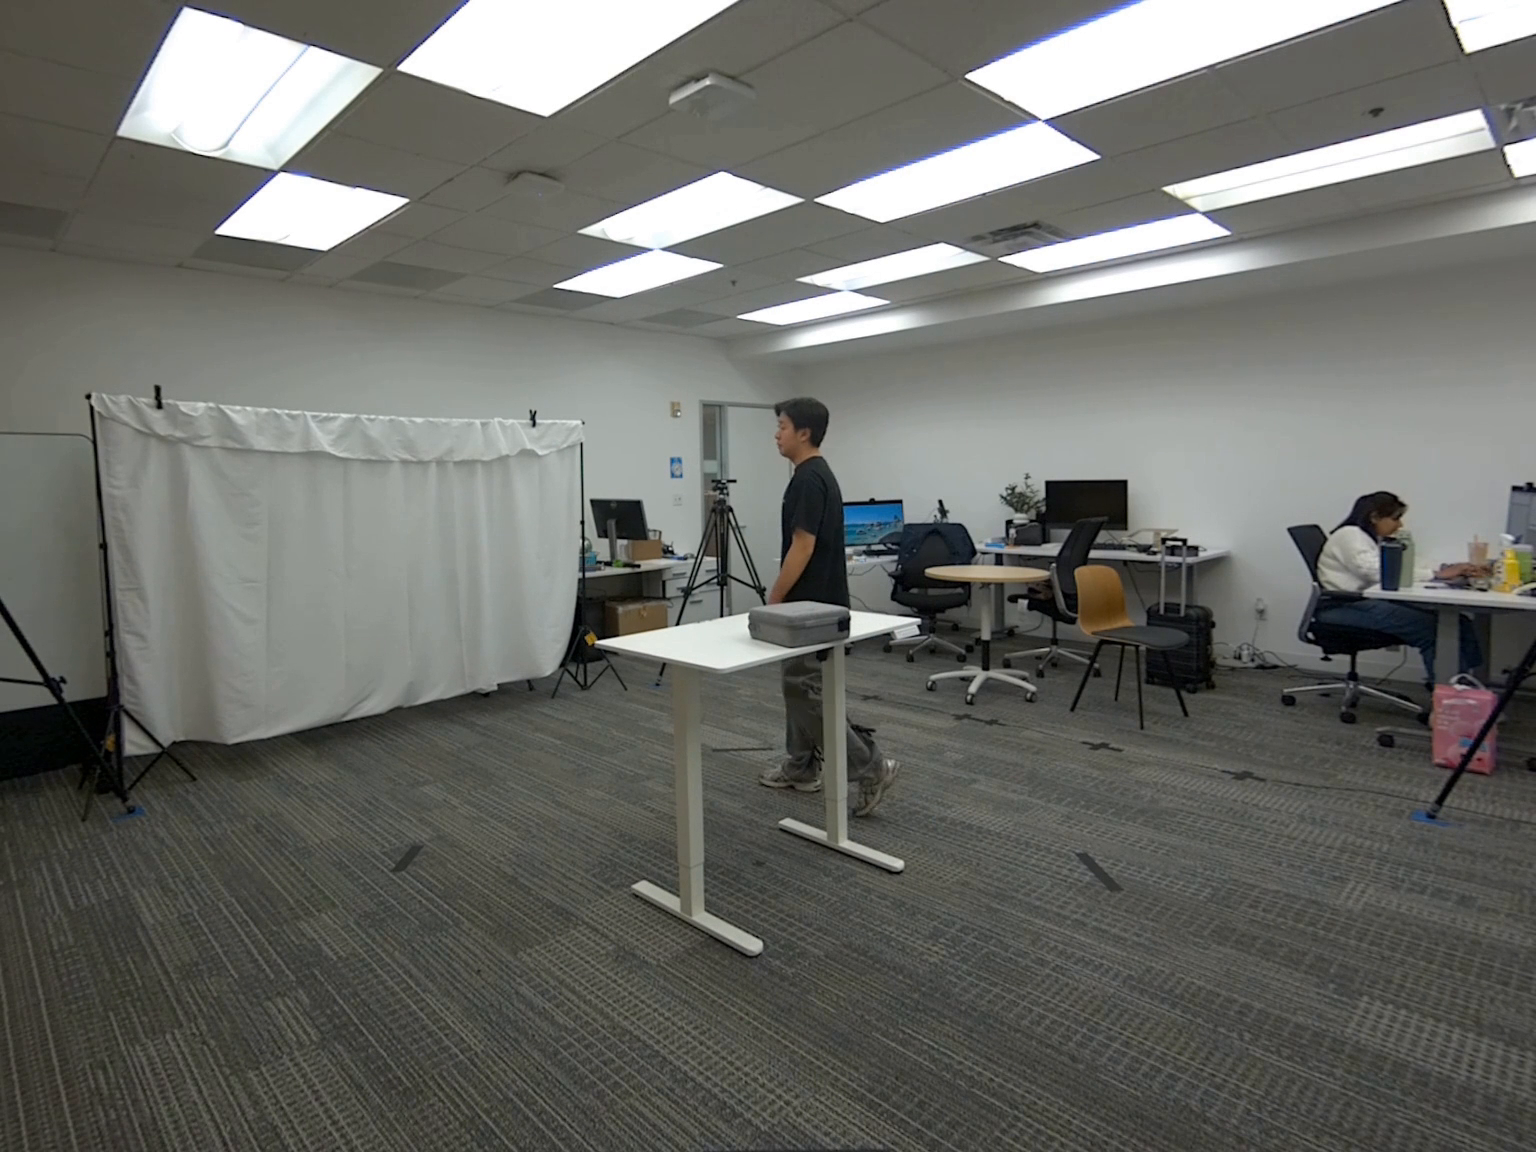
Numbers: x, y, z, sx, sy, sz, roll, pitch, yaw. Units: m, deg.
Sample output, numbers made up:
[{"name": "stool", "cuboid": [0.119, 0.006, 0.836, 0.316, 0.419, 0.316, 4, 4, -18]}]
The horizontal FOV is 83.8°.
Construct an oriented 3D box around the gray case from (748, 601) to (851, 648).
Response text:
[{"name": "gray case", "cuboid": [0.093, 0.149, 2.747, 0.251, 0.104, 0.267, -5, 6, -28]}]
